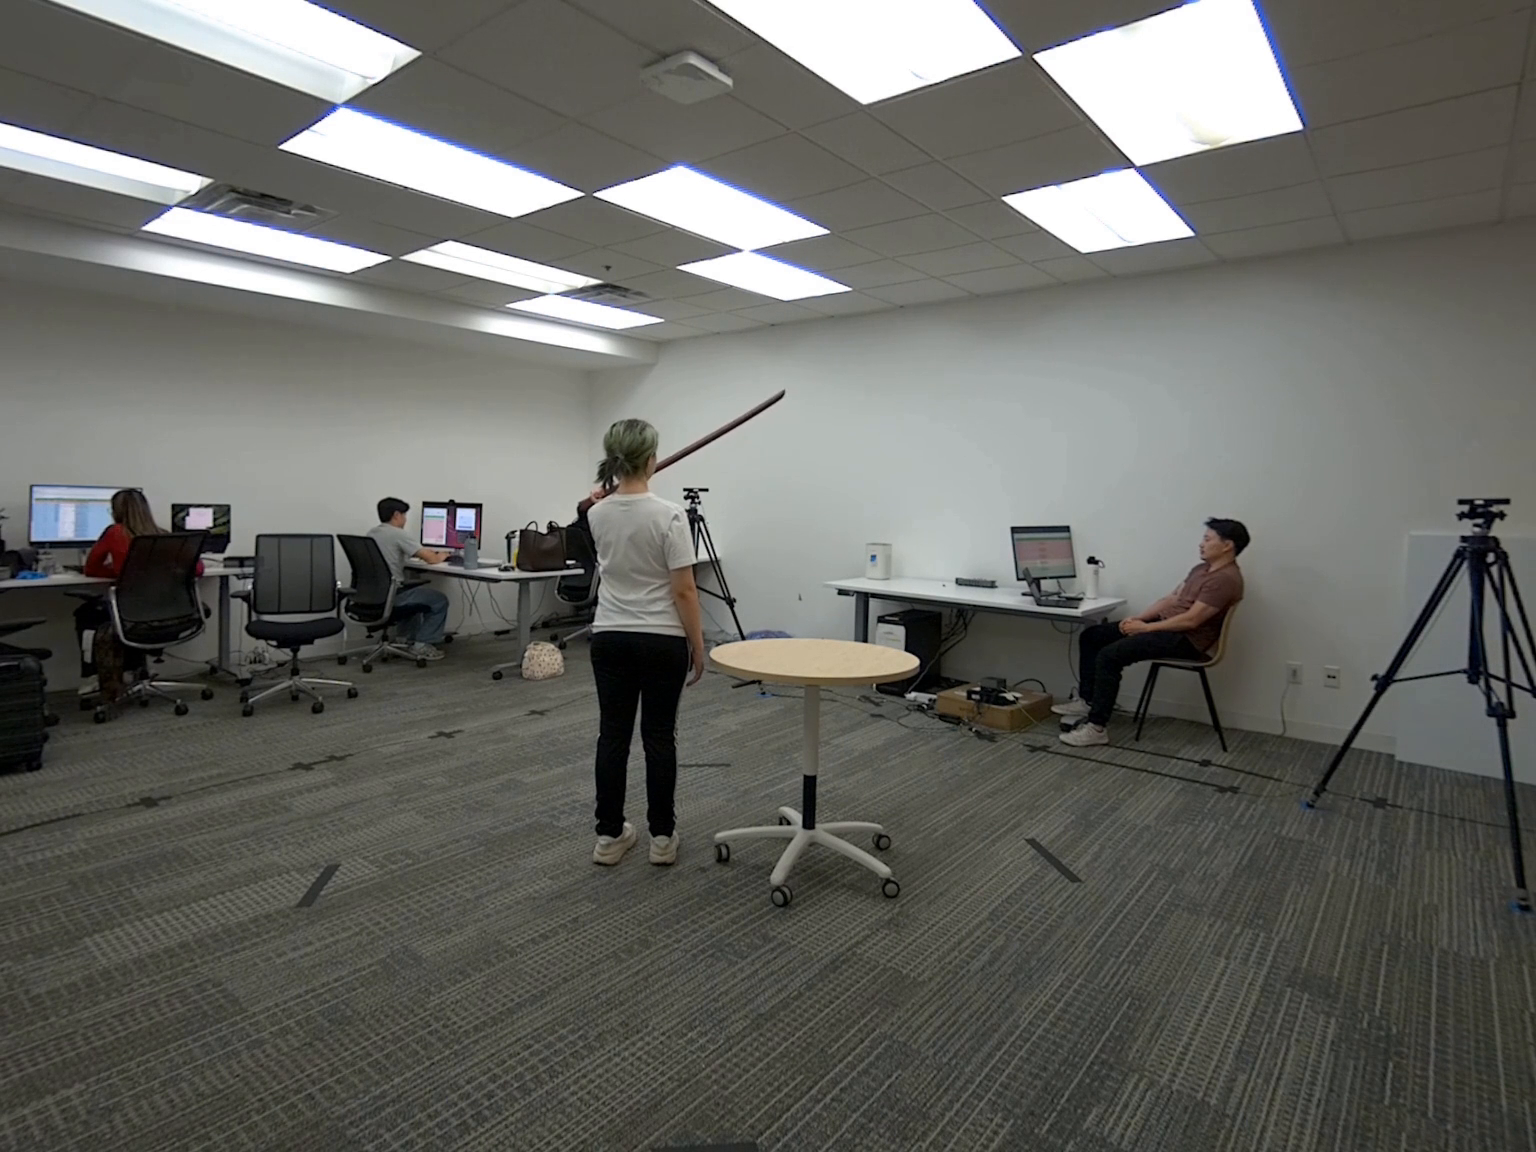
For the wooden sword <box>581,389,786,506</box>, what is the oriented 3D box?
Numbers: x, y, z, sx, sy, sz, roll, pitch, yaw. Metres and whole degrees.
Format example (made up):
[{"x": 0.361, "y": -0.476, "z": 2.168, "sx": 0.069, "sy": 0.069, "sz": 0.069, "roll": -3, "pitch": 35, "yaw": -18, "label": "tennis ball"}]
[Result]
[{"x": -0.340, "y": -0.526, "z": 3.553, "sx": 1.018, "sy": 0.052, "sz": 0.024, "roll": -32, "pitch": -7, "yaw": -15, "label": "wooden sword"}]
